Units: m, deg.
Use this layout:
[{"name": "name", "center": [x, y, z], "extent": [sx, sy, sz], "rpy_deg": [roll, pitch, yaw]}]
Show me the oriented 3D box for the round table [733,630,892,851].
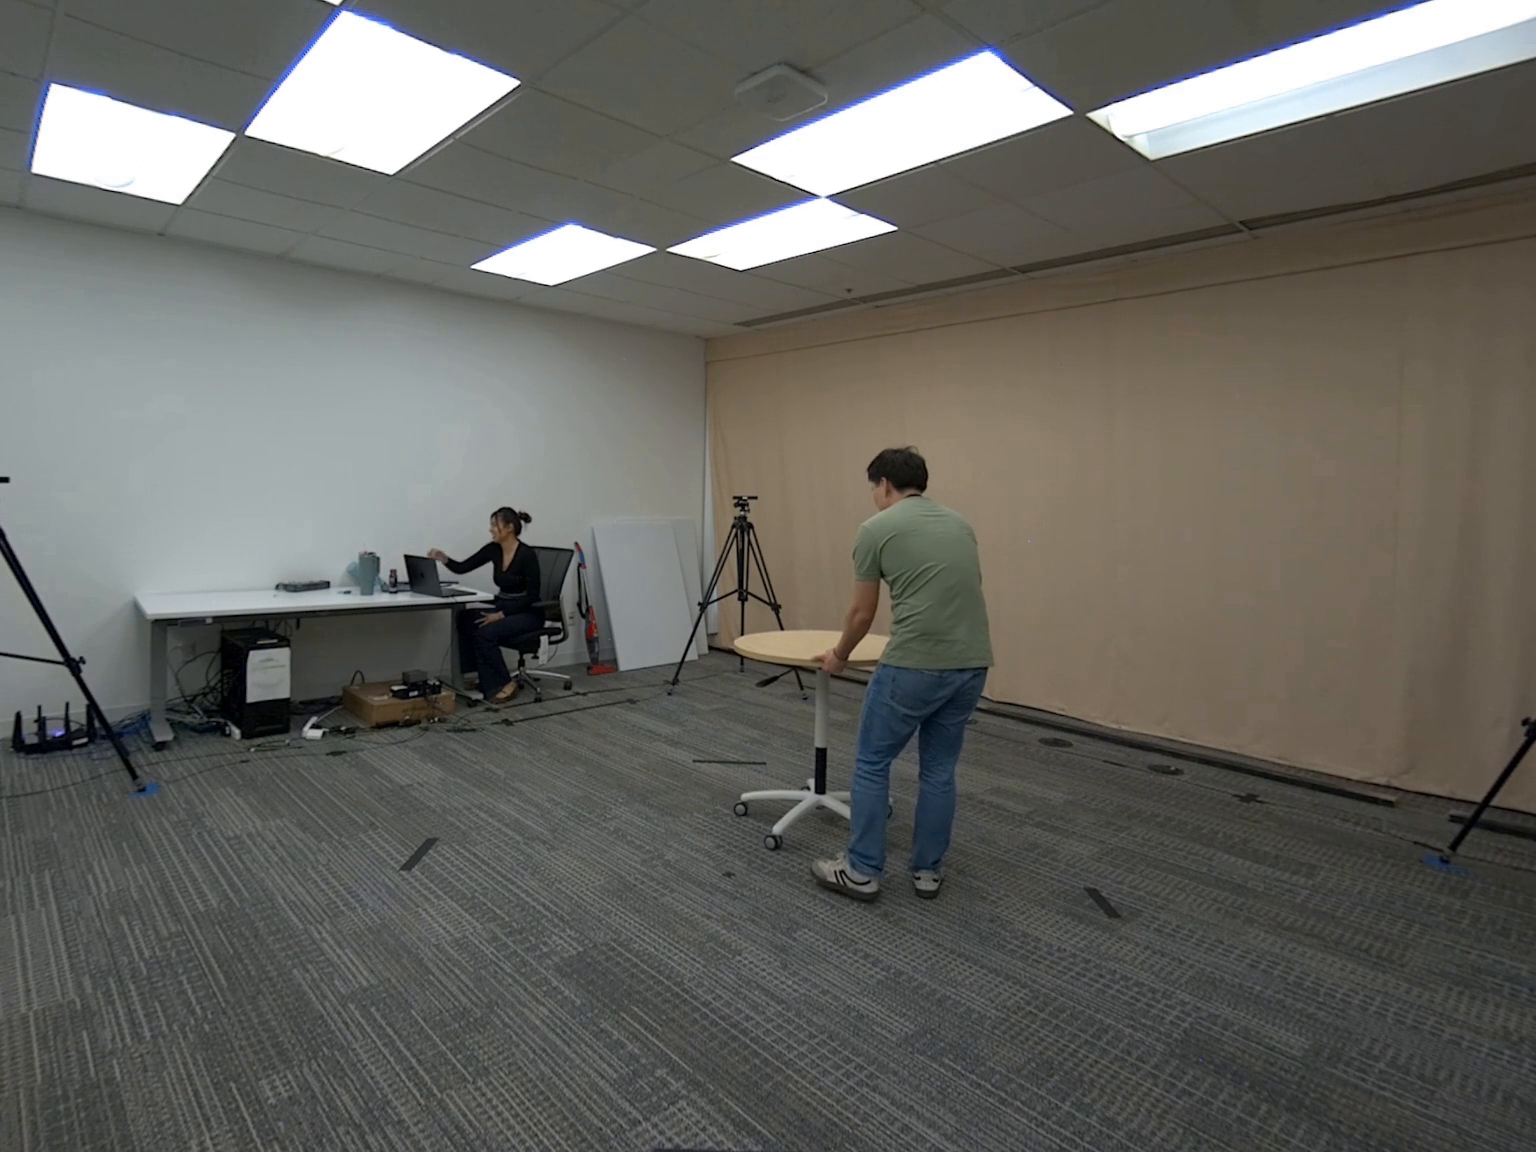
[{"name": "round table", "center": [0.214, 0.679, 3.590], "extent": [0.763, 0.792, 0.766], "rpy_deg": [1, 4, -1]}]
